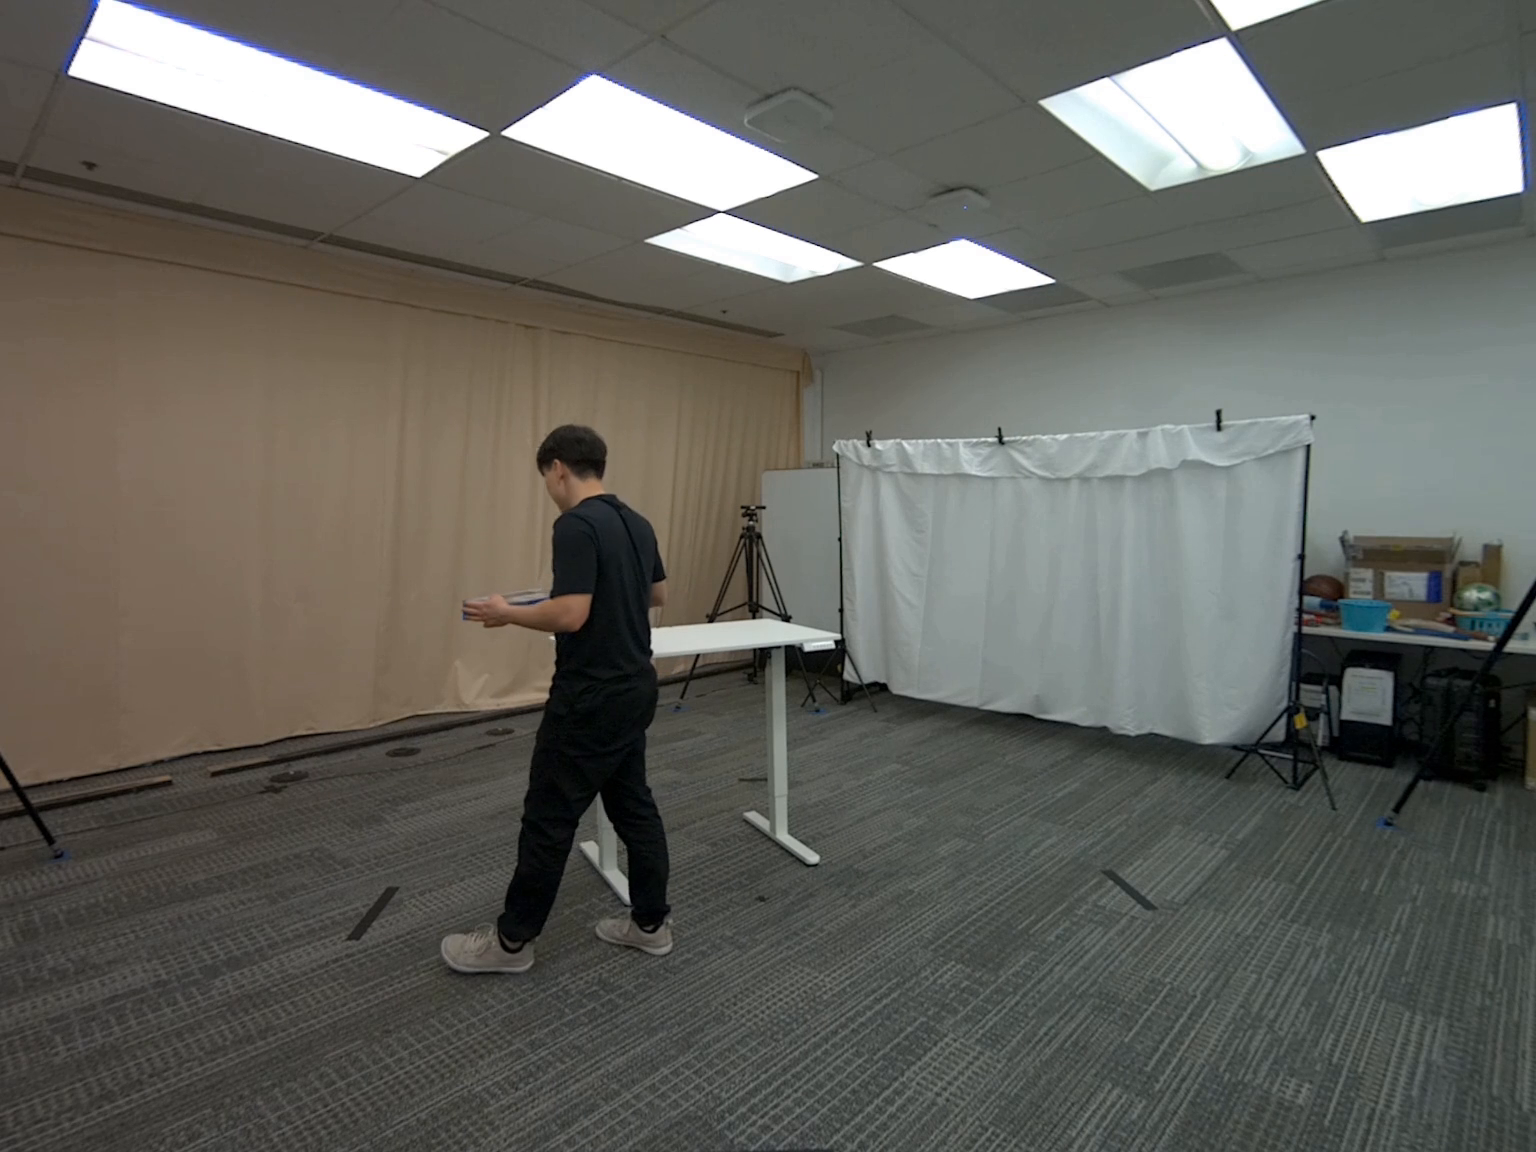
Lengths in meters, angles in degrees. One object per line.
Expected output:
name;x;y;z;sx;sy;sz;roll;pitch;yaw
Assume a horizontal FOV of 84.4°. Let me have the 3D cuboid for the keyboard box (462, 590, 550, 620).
keyboard box;-0.770;0.089;2.680;0.180;0.059;0.428;1;4;19
